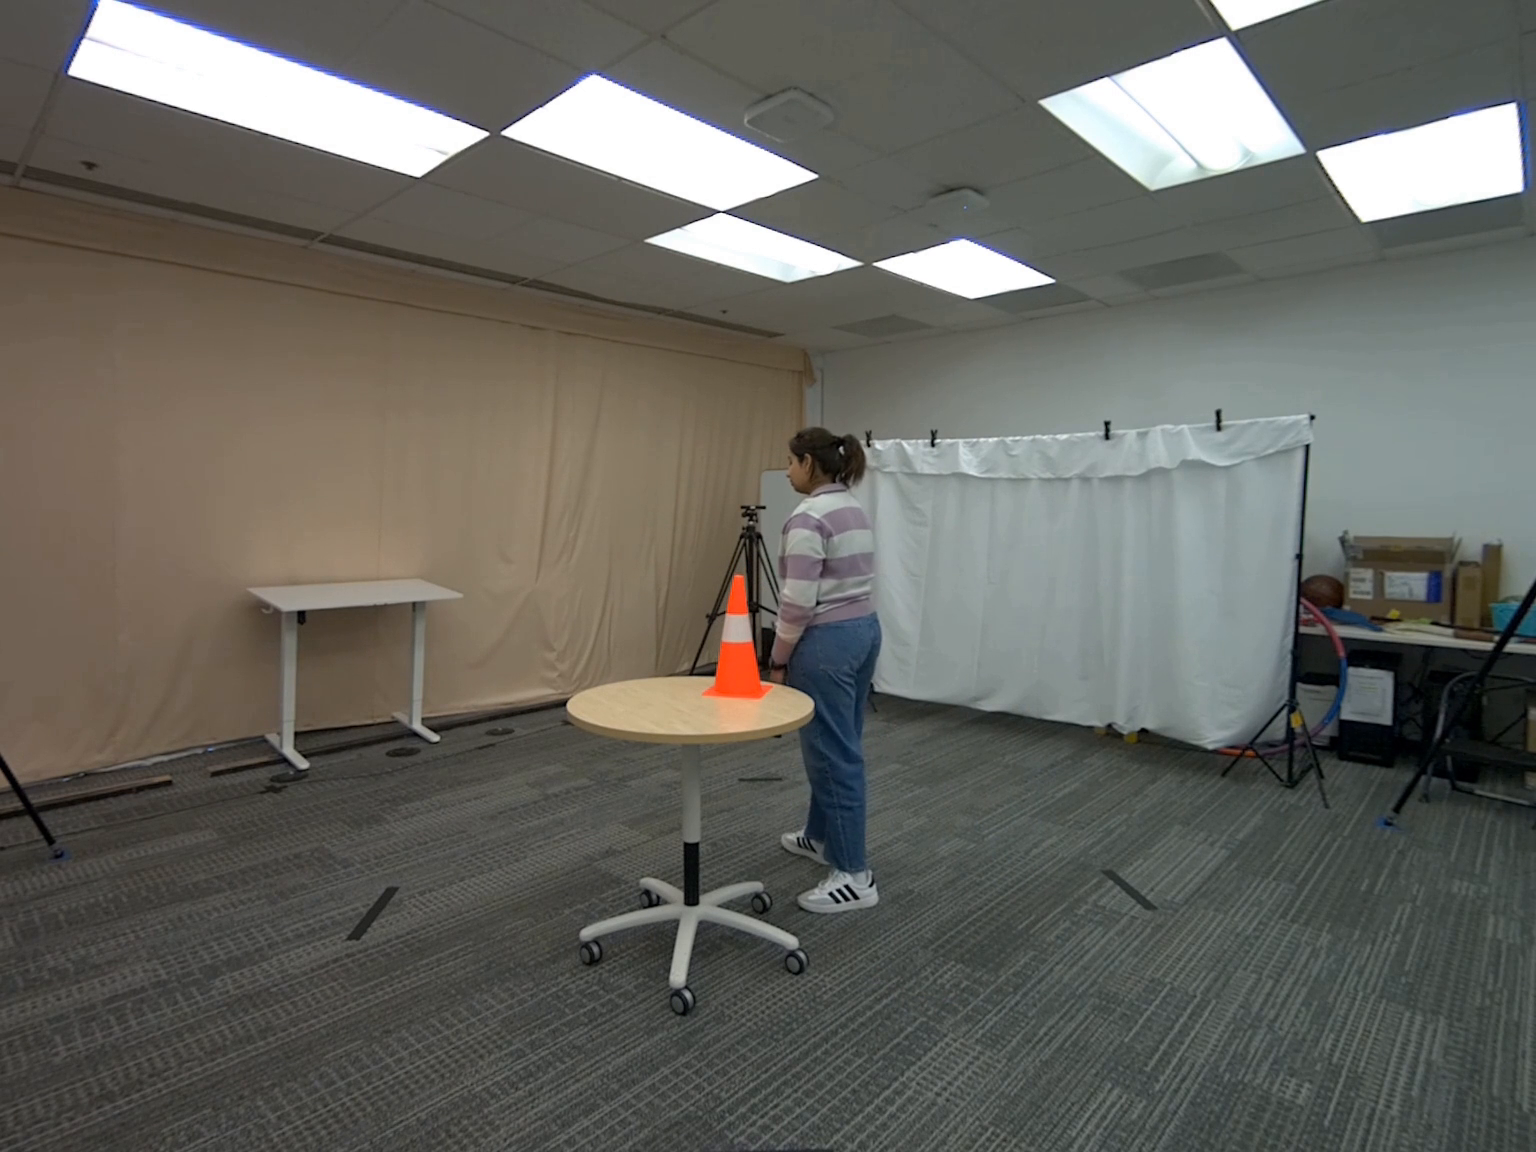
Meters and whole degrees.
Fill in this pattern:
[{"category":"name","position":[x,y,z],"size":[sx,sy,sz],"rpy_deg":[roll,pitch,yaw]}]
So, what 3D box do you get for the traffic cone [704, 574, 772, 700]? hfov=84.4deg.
[{"category":"traffic cone","position":[-0.093,0.190,2.766],"size":[0.208,0.383,0.200],"rpy_deg":[2,4,14]}]
